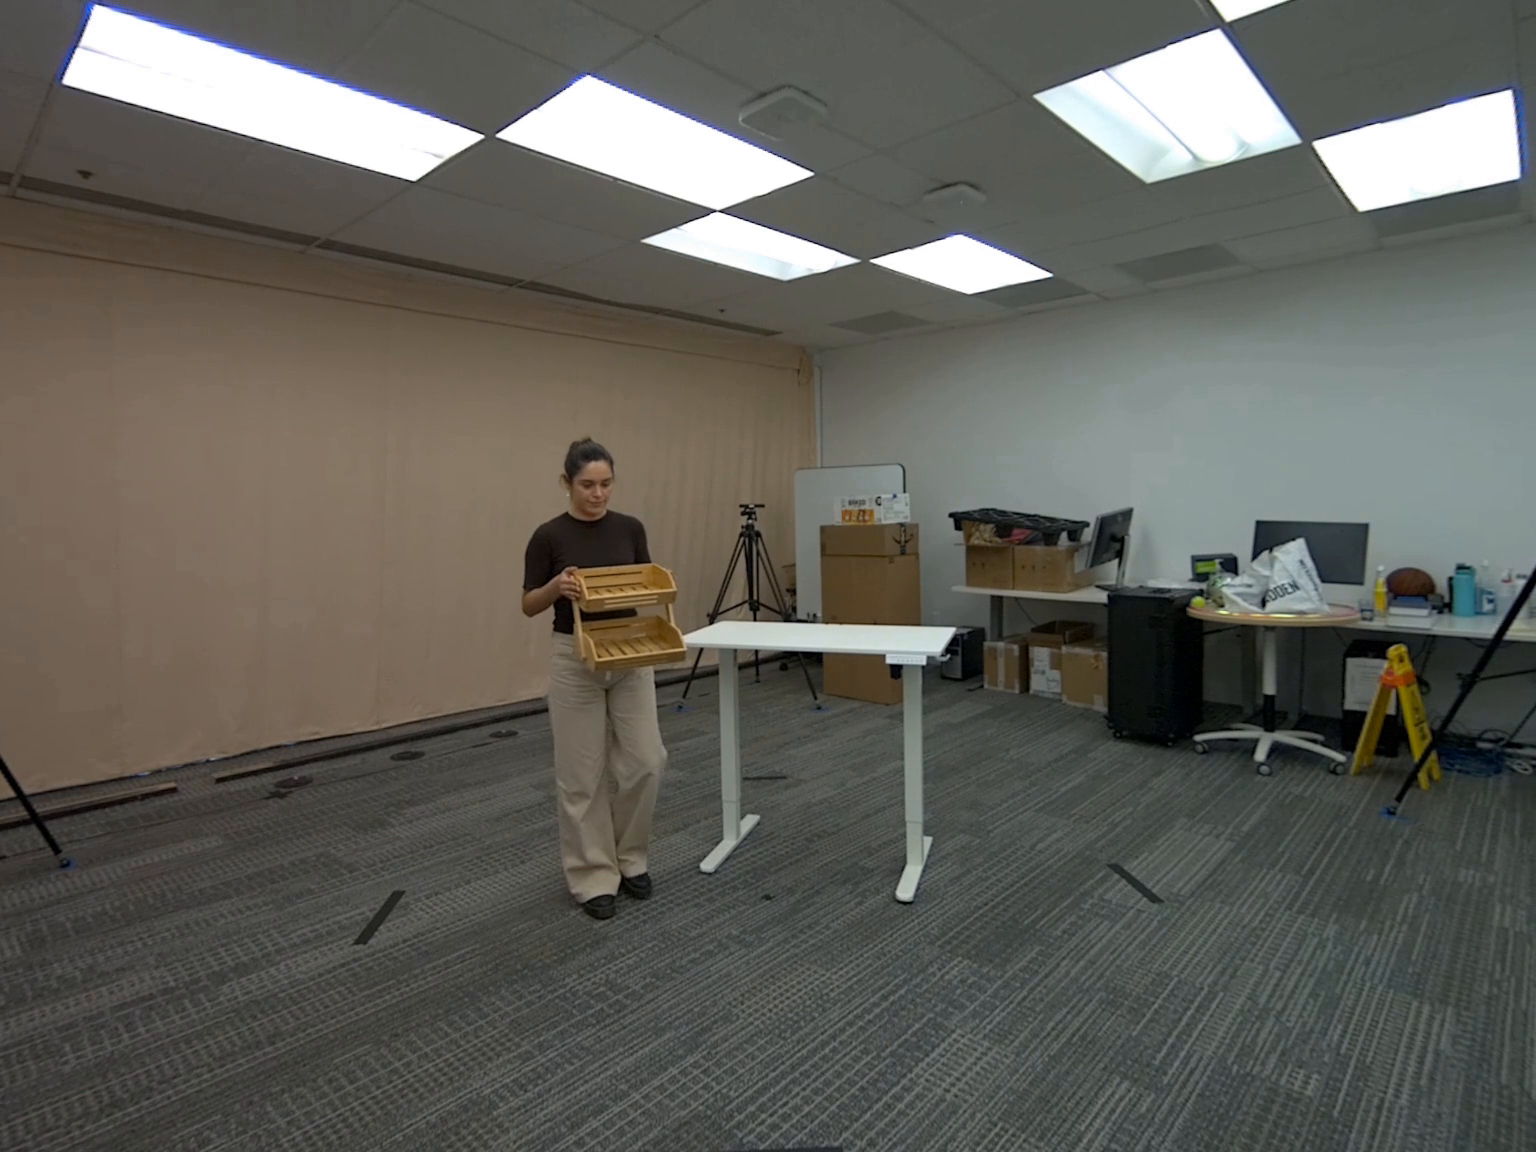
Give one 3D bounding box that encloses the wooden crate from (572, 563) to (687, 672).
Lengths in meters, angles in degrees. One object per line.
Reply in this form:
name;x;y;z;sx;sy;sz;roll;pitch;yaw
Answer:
wooden crate;-0.450;0.126;2.714;0.317;0.271;0.311;-5;14;-25
